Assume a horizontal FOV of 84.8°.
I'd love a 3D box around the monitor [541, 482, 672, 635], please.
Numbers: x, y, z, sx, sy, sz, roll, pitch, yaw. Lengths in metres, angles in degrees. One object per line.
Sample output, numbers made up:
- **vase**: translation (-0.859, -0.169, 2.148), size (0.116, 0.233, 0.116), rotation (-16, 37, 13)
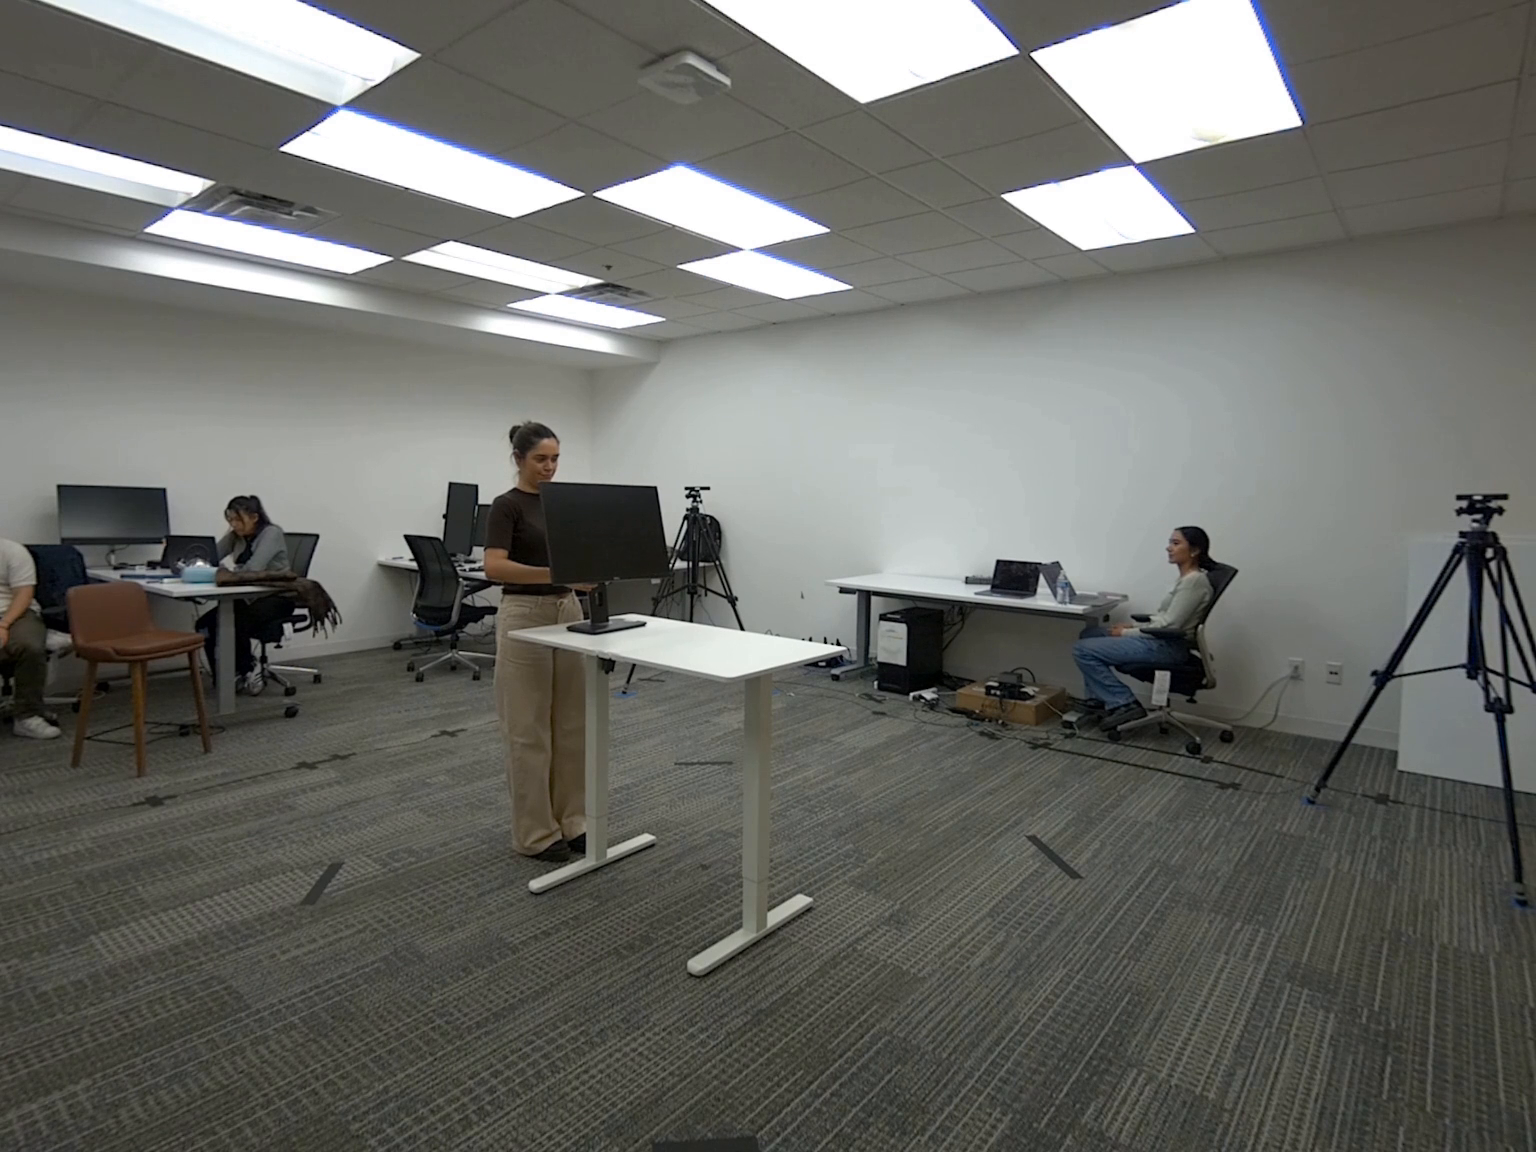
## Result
- **monitor**: translation (-0.598, -0.069, 3.027), size (0.193, 0.522, 0.523), rotation (0, 2, 39)
